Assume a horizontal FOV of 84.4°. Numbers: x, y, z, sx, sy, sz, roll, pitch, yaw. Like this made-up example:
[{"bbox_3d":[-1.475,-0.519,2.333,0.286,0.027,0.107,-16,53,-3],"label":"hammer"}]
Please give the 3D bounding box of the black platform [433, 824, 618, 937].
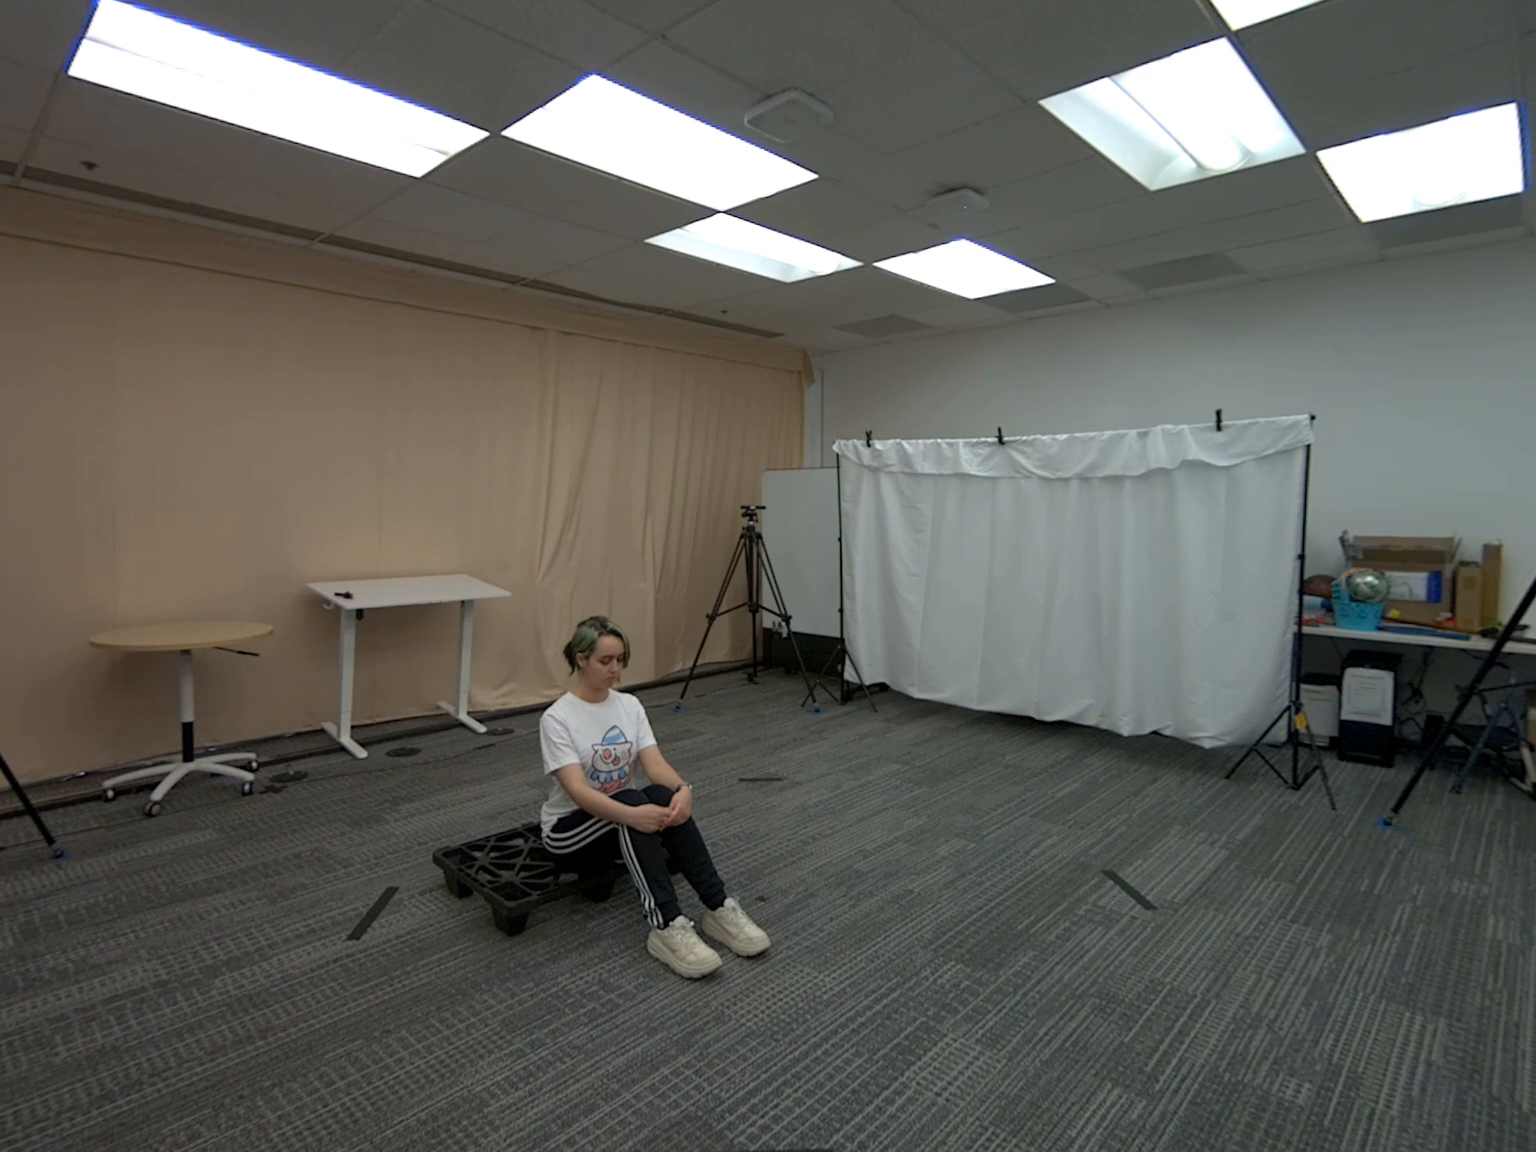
[{"bbox_3d":[-0.744,1.071,3.143,0.781,0.143,0.625,-5,7,-43],"label":"black platform"}]
